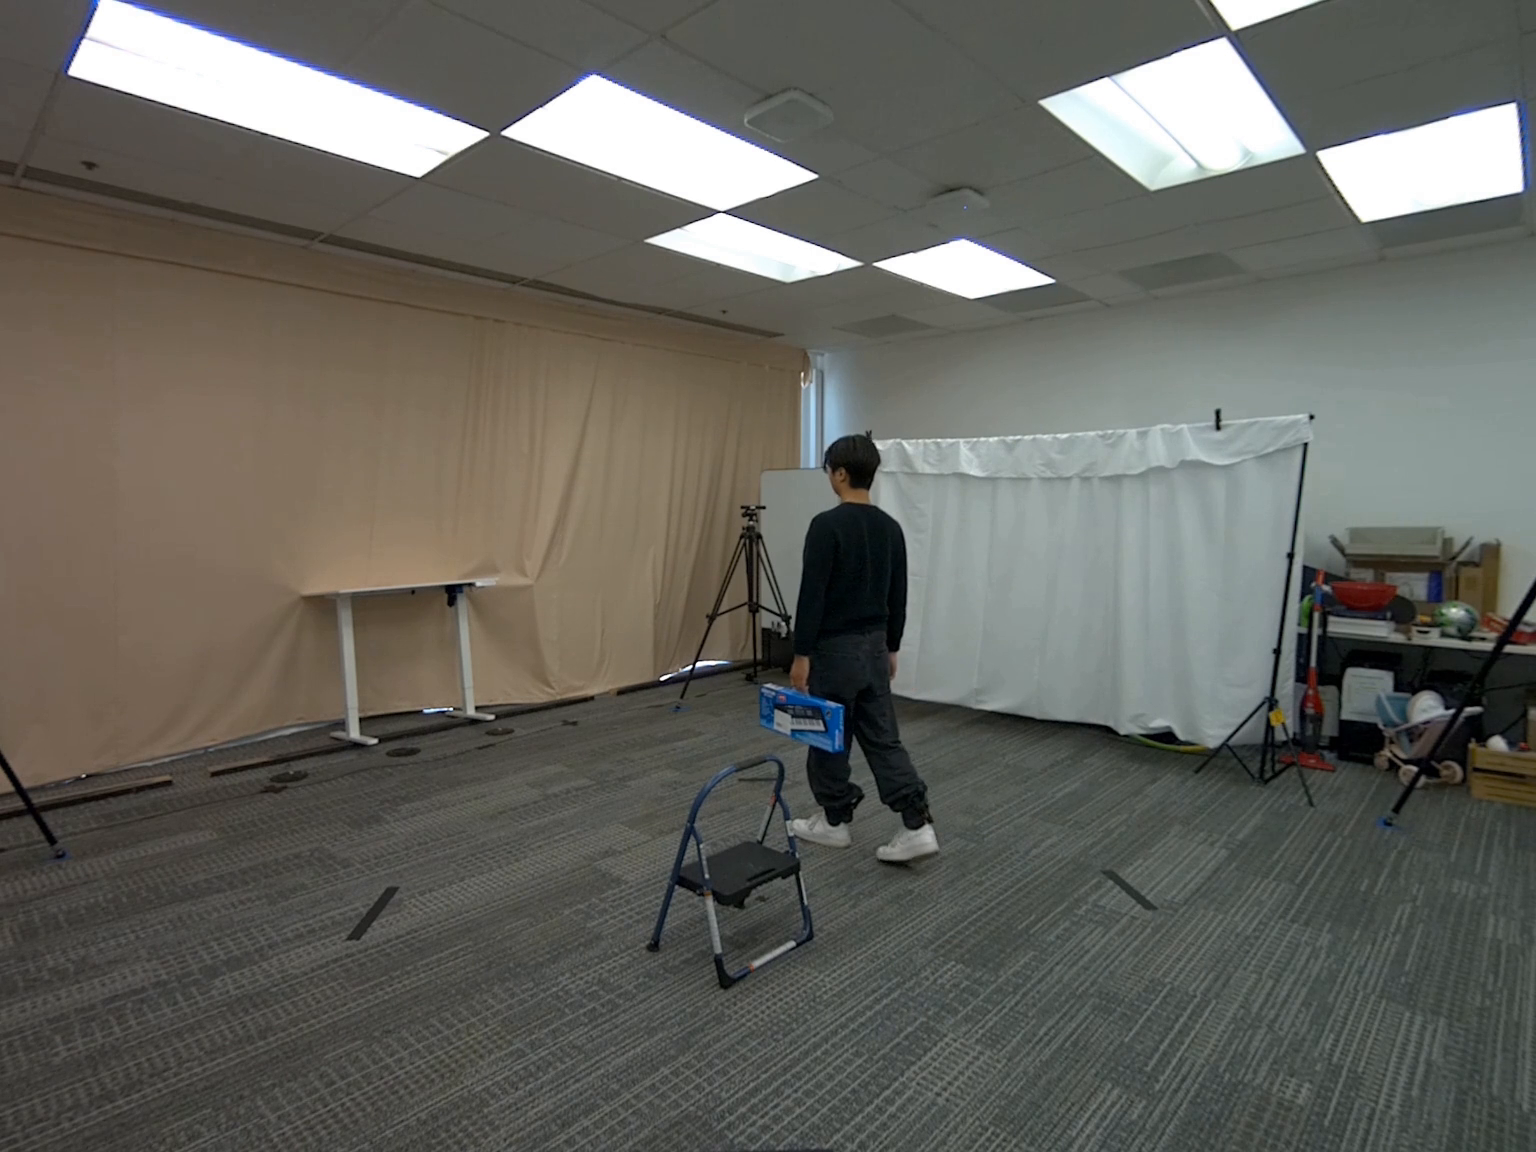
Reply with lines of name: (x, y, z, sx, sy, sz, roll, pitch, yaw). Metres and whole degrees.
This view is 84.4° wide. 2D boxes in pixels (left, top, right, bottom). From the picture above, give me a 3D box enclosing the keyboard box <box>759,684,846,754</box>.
keyboard box: (0.131, 0.553, 3.330, 0.057, 0.175, 0.451, -3, 7, -38)
